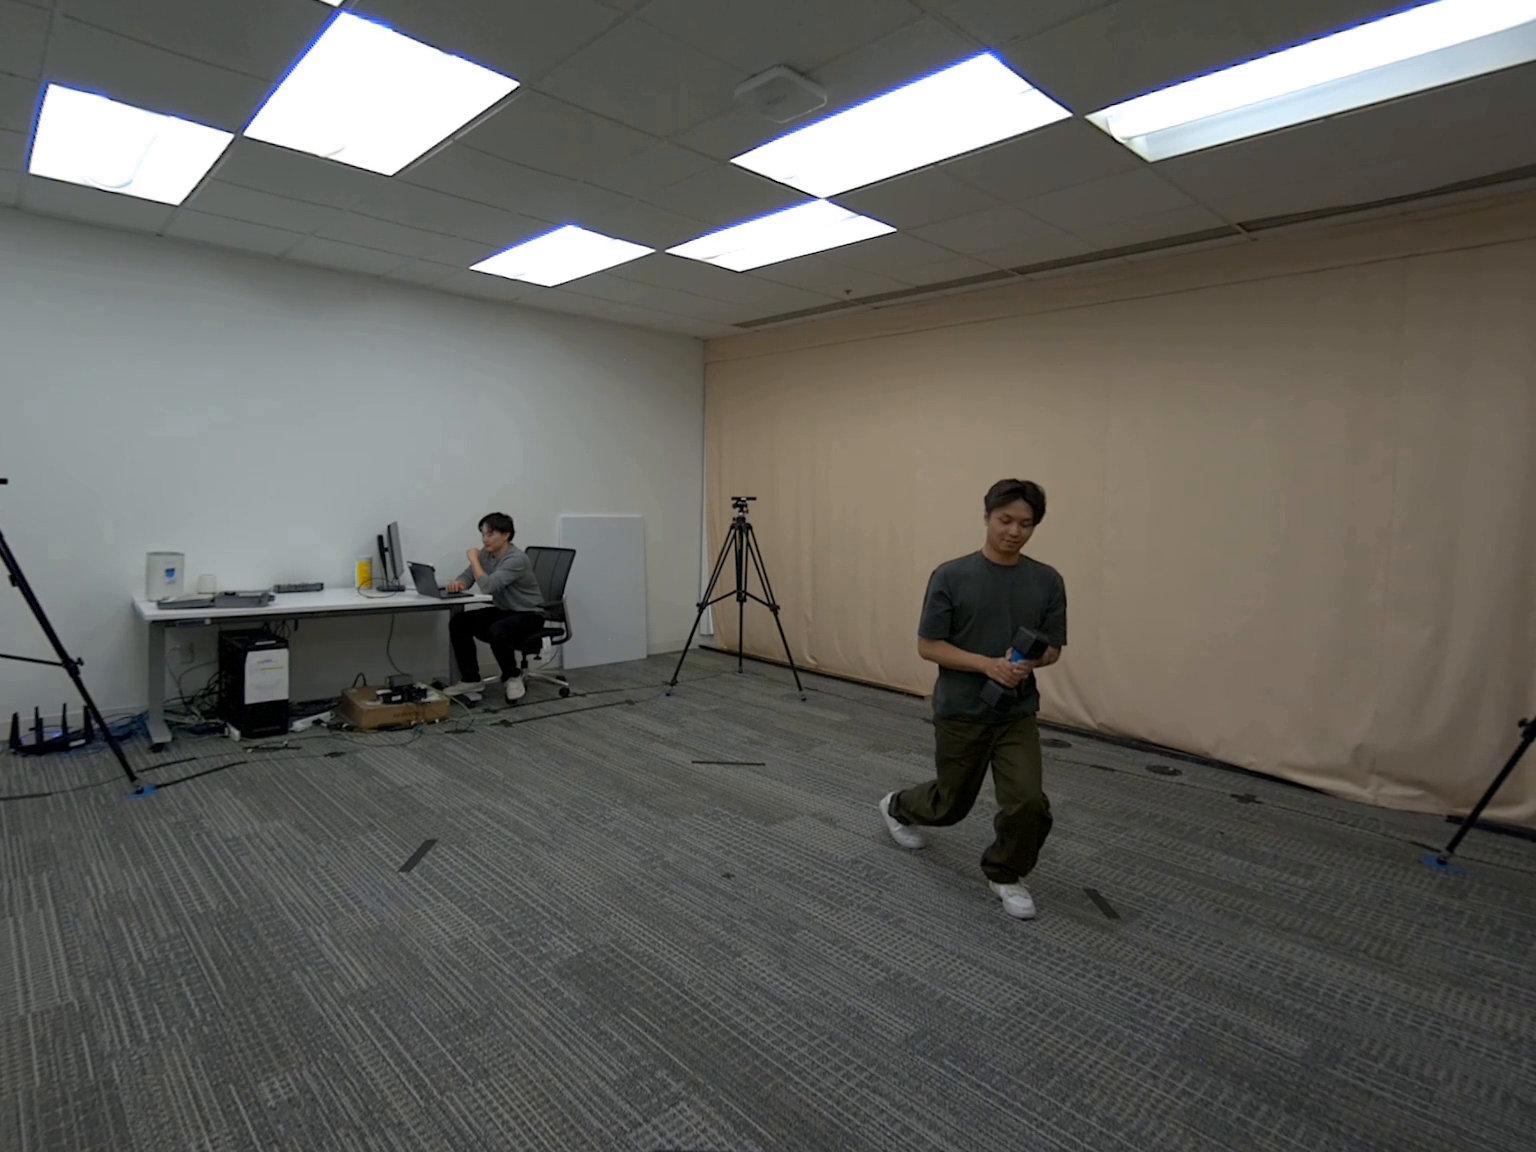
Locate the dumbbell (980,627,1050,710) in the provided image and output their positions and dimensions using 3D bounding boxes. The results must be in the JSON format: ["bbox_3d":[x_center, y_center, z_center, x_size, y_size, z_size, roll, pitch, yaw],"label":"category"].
[{"bbox_3d":[0.810,0.299,2.818,0.106,0.292,0.127,7,24,-49],"label":"dumbbell"}]
